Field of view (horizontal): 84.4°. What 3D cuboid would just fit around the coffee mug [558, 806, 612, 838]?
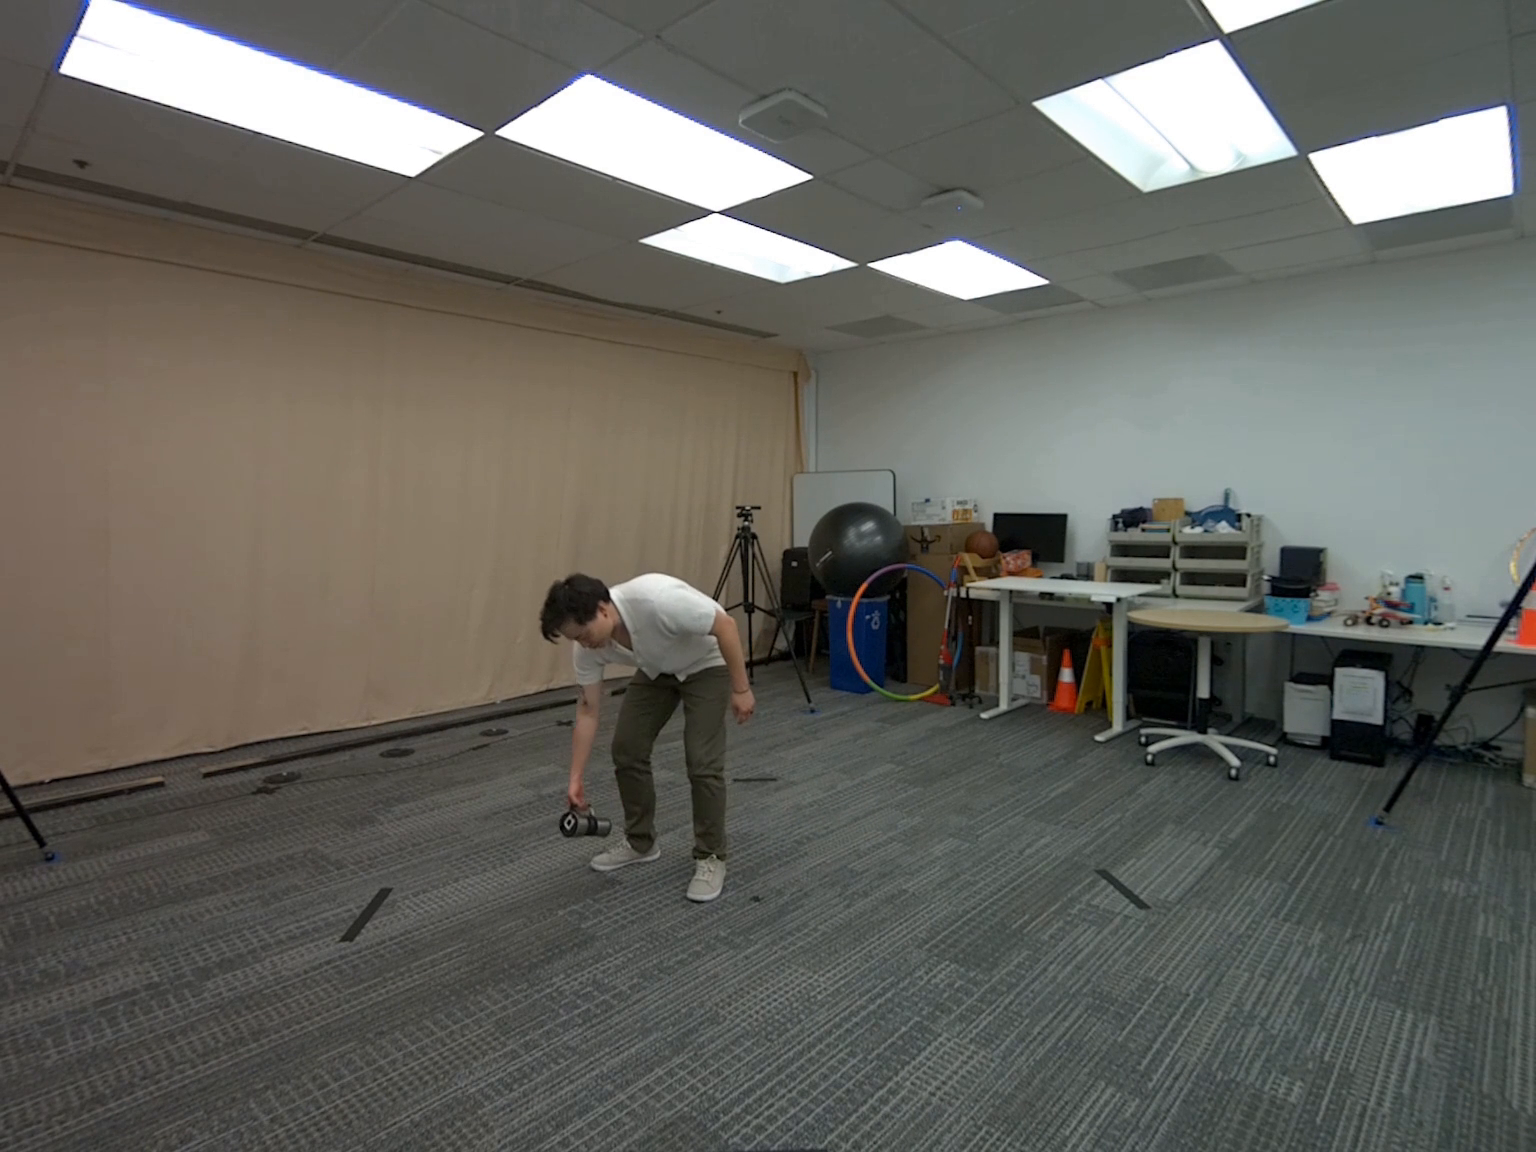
[{"bbox_3d":[-0.654,0.894,3.066,0.091,0.122,0.196,37,8,38],"label":"coffee mug"}]
